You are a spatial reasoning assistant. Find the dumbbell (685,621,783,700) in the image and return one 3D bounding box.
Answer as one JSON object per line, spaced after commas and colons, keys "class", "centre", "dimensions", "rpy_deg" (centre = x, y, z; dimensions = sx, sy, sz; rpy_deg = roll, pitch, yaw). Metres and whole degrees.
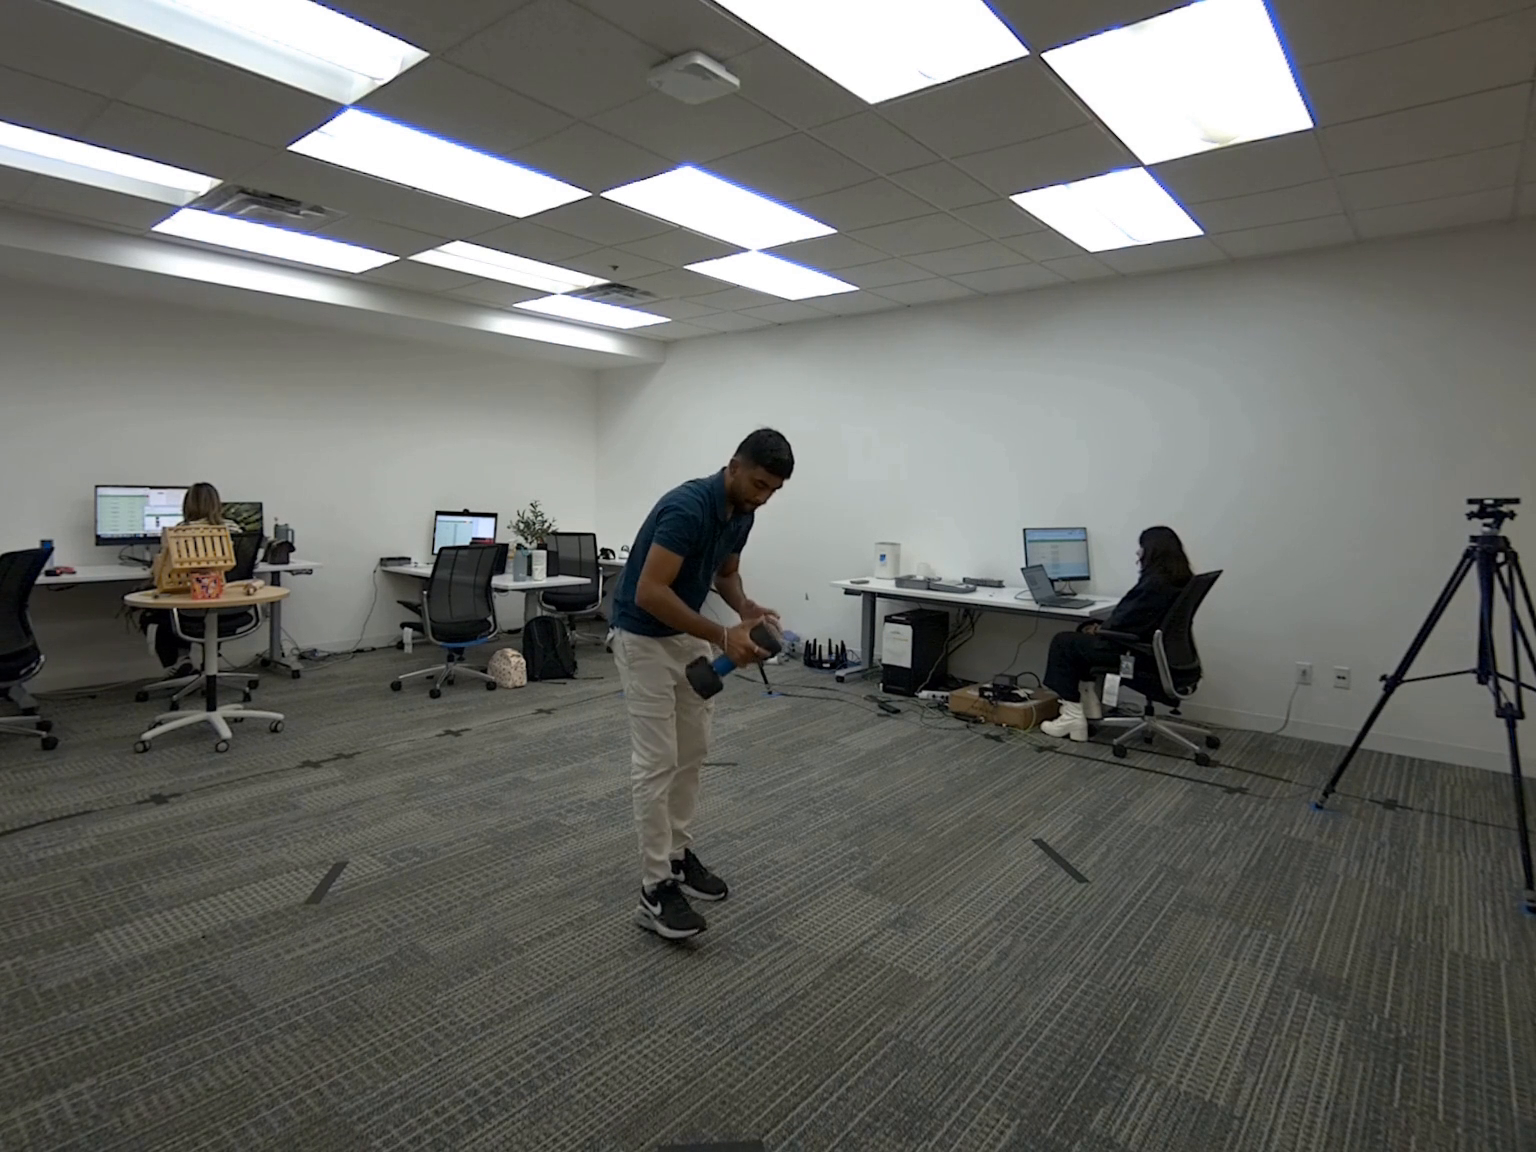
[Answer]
{"class": "dumbbell", "centre": [-0.120, 0.261, 2.581], "dimensions": [0.294, 0.125, 0.107], "rpy_deg": [-31, -12, 1]}
